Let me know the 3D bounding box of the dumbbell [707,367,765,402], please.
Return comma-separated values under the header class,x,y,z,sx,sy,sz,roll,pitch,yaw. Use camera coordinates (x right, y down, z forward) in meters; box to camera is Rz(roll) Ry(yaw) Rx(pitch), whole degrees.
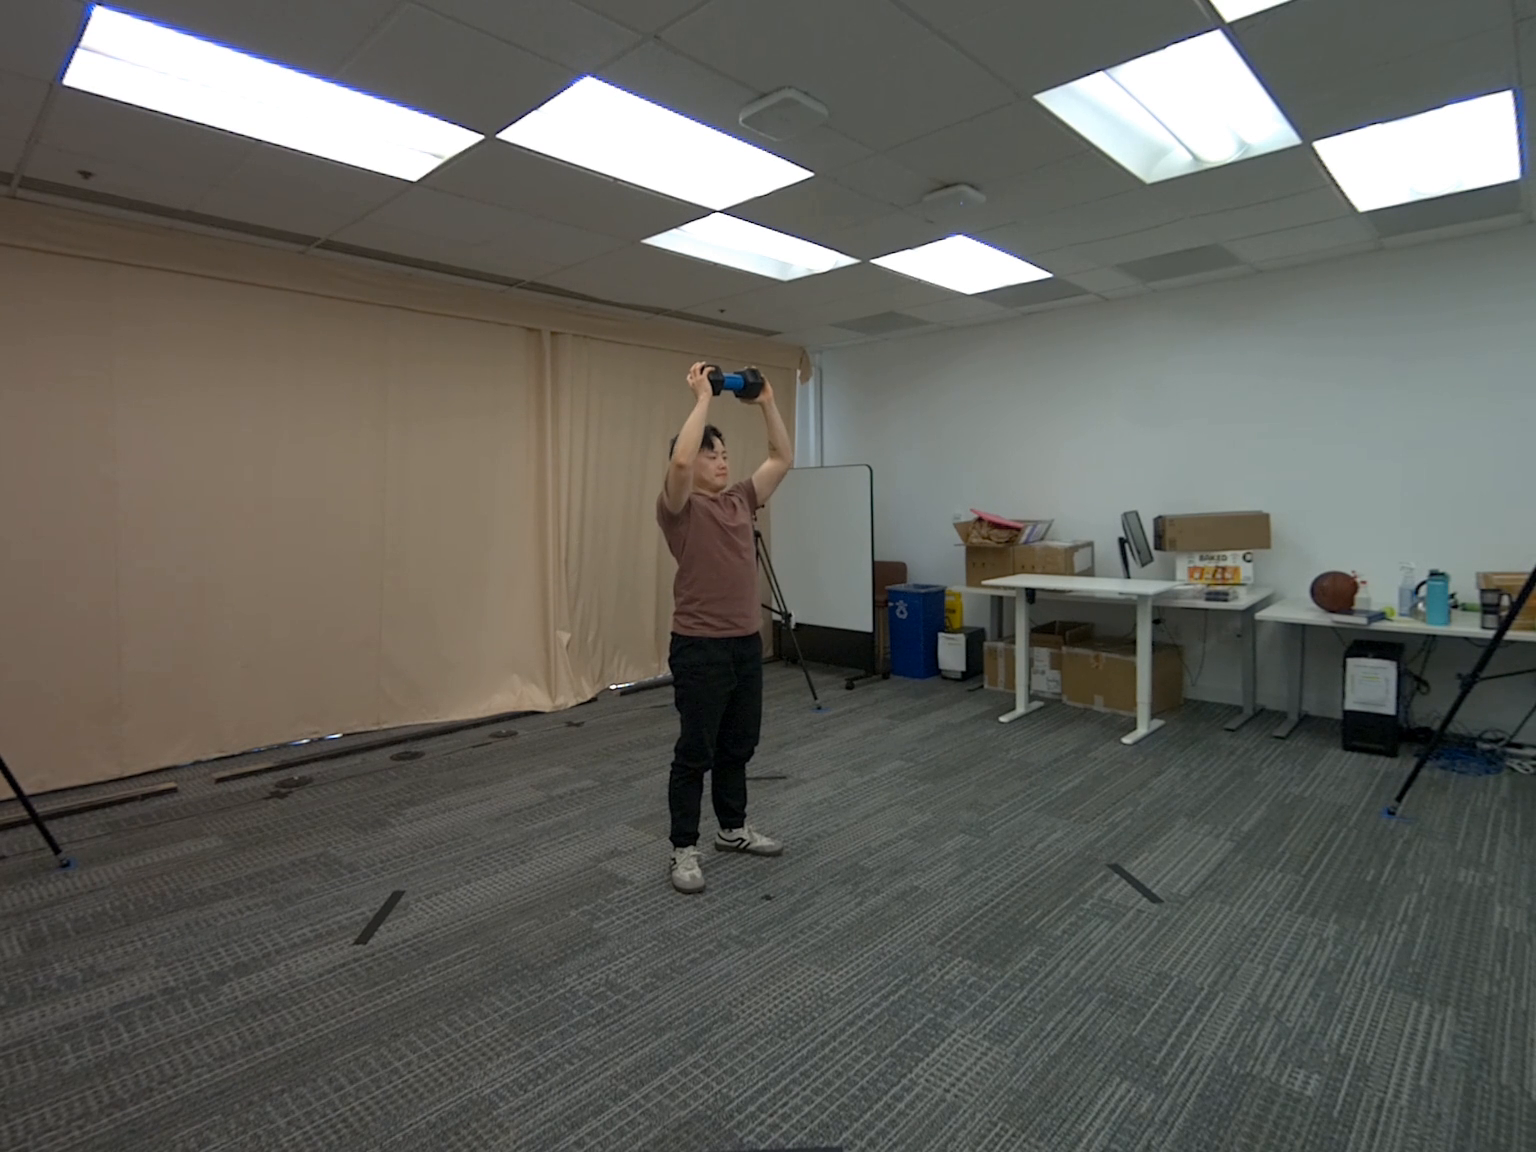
class,x,y,z,sx,sy,sz,roll,pitch,yaw
dumbbell,-0.144,-0.708,3.092,0.285,0.125,0.110,-11,-19,-46
